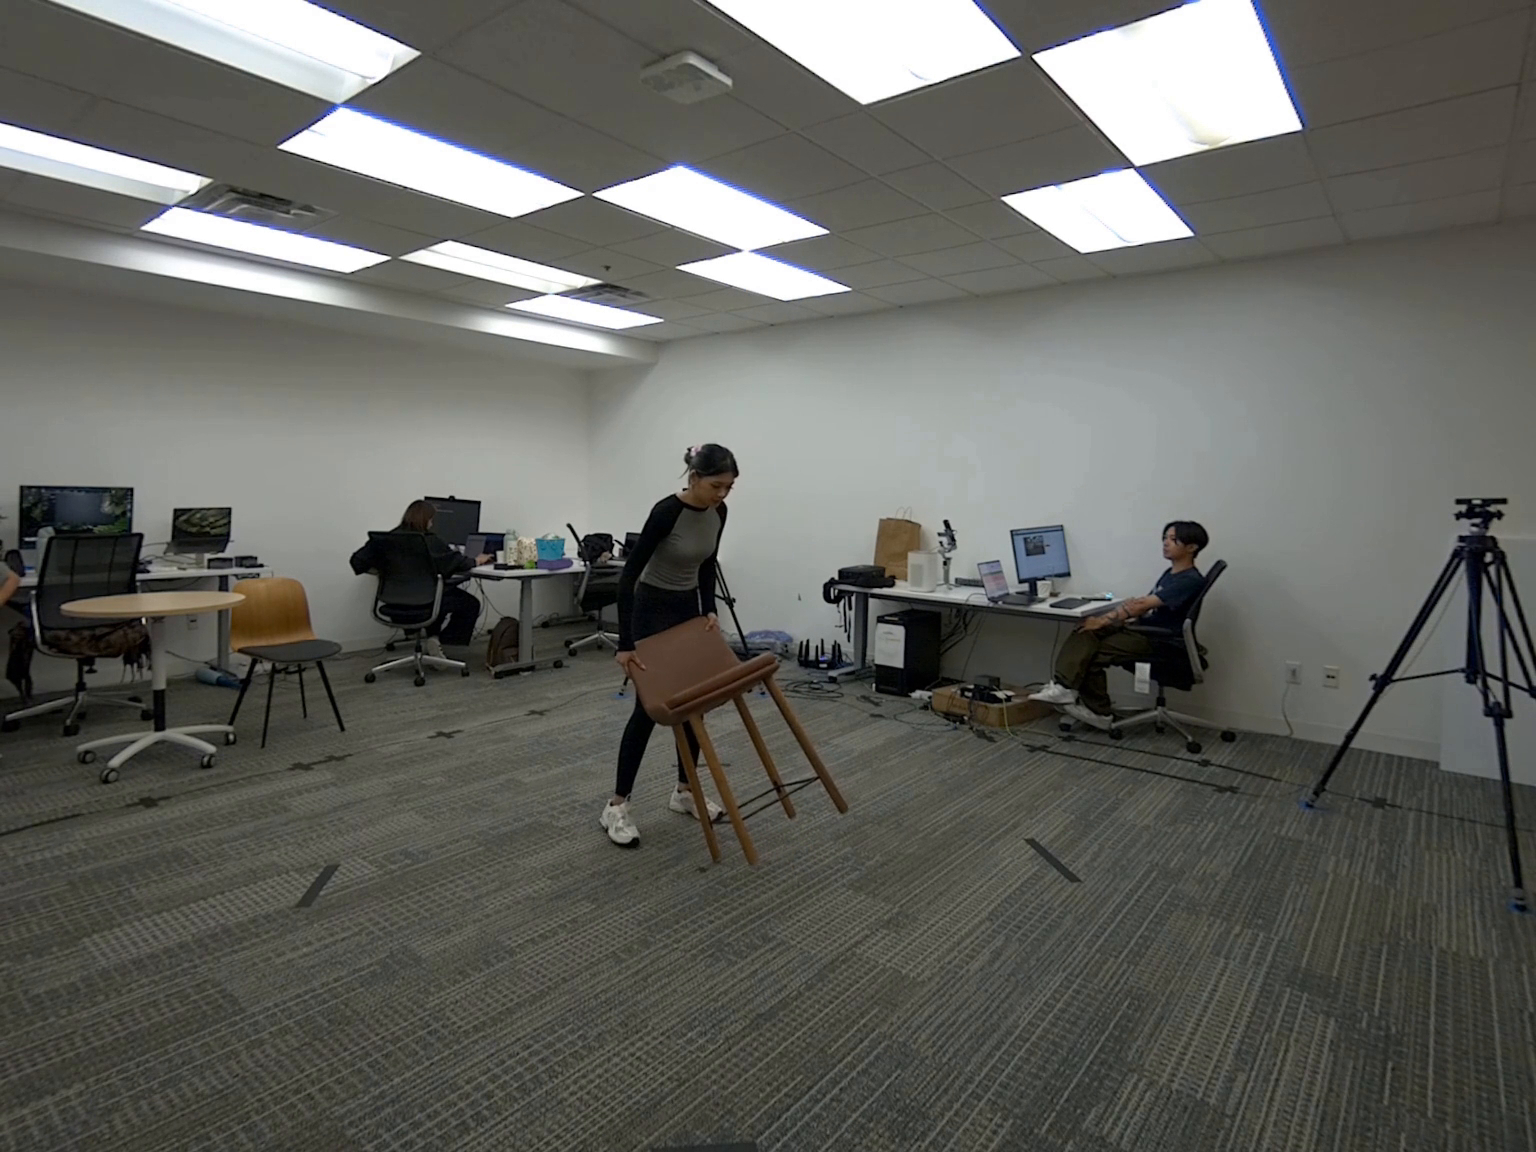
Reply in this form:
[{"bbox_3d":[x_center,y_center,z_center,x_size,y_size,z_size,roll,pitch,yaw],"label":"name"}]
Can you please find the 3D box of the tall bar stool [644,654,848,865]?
[{"bbox_3d":[-0.159,0.553,3.151,0.449,0.904,0.467,-20,-13,-26],"label":"tall bar stool"}]
